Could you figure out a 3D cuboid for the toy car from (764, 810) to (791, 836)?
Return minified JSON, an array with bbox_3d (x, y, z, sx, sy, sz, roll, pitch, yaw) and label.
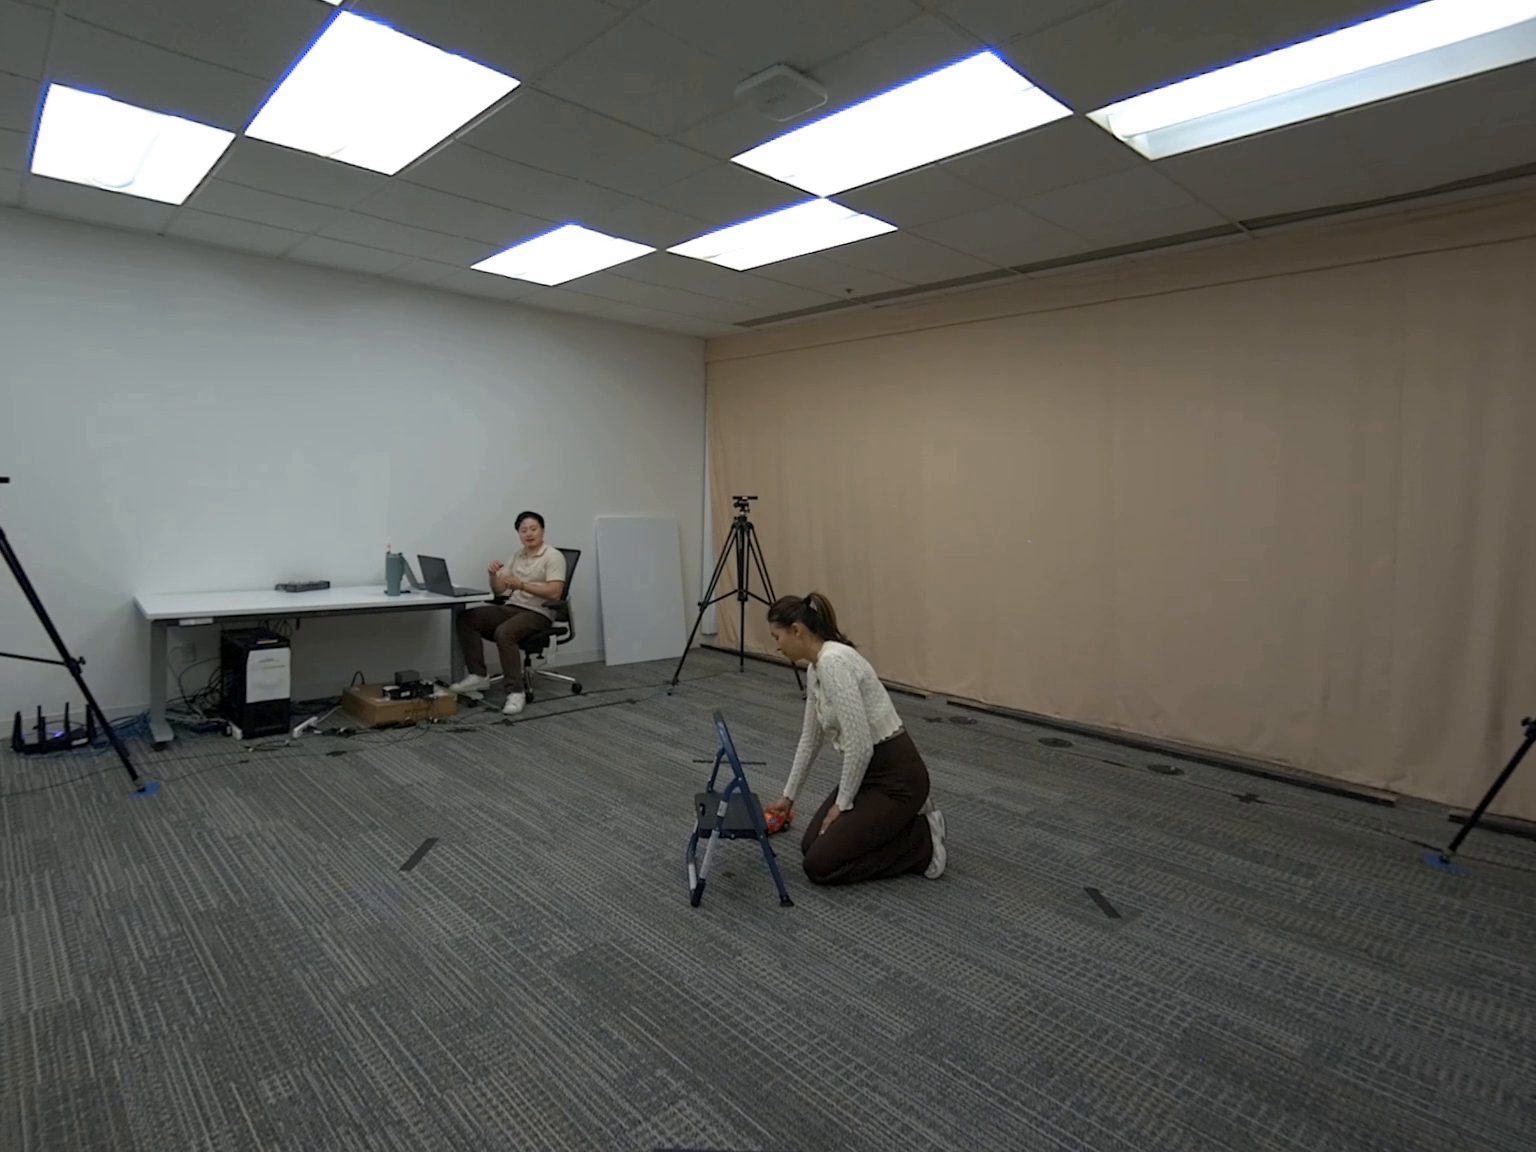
[{"bbox_3d":[-0.003,1.036,3.523,0.133,0.082,0.250,6,17,43],"label":"toy car"}]
